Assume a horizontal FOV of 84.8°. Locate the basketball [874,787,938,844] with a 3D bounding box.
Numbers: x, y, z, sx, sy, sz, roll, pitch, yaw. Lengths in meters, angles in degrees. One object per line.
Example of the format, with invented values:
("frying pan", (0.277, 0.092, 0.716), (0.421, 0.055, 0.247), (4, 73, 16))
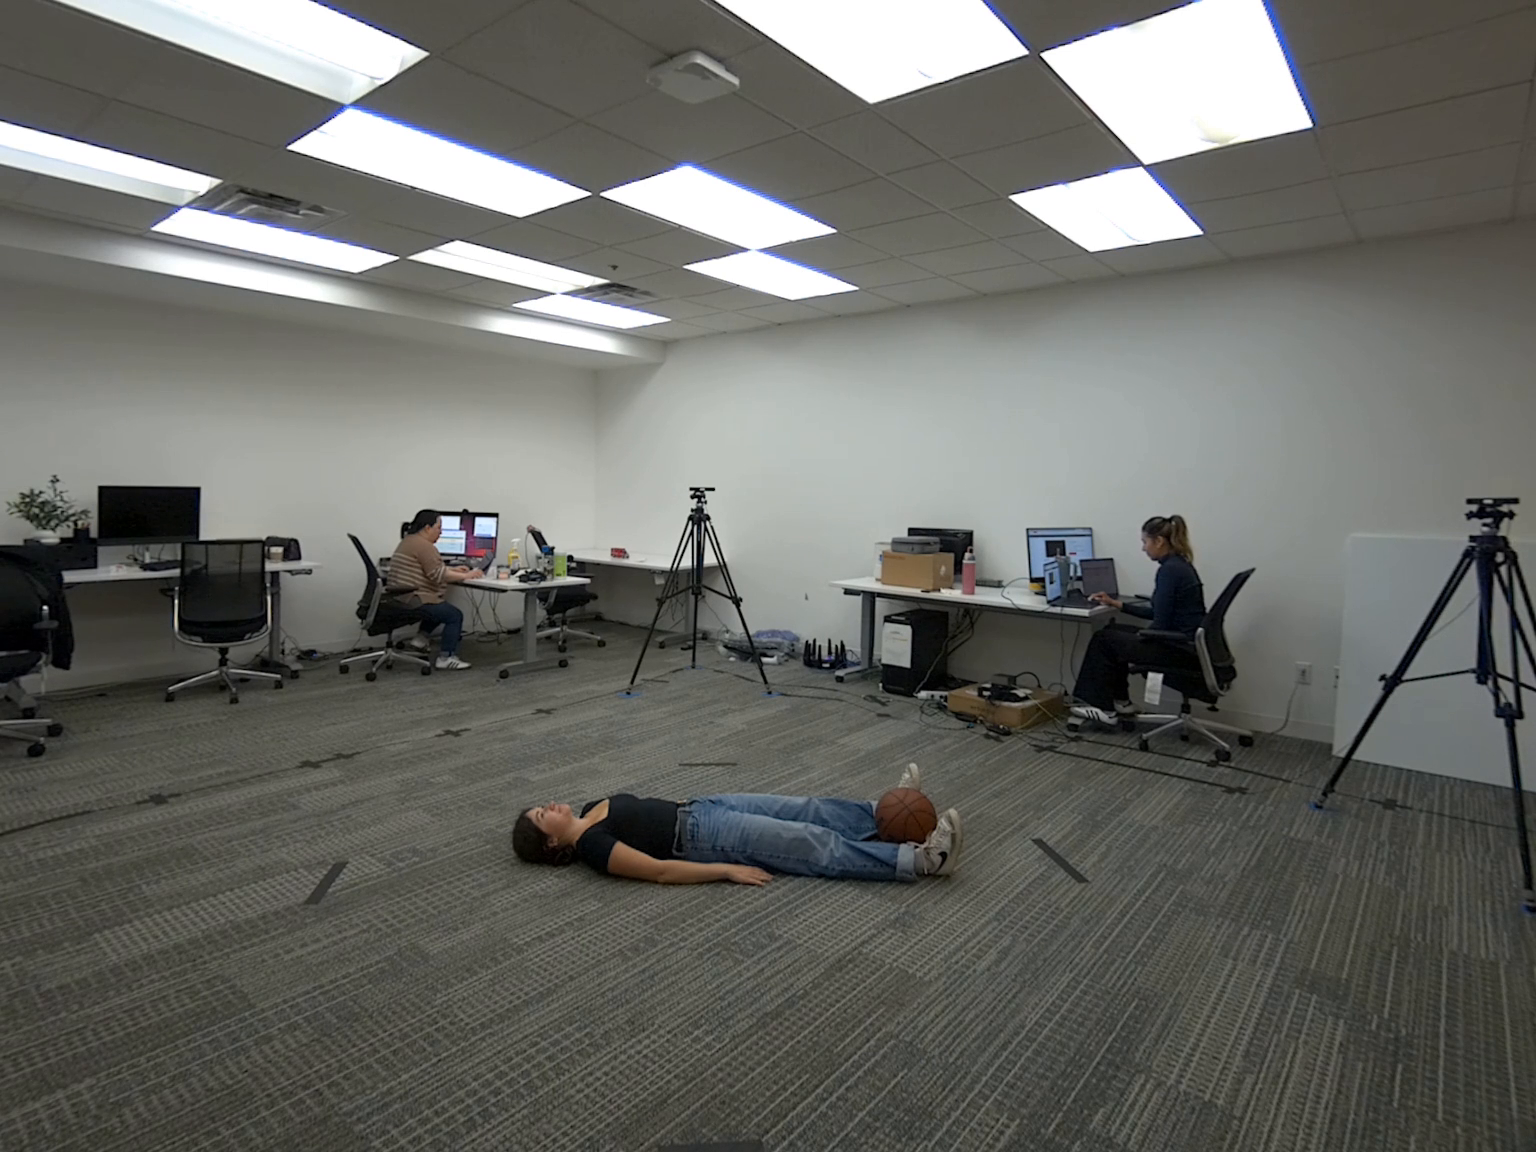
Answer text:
("basketball", (0.529, 0.940, 3.311), (0.235, 0.235, 0.237), (1, 4, -2))
